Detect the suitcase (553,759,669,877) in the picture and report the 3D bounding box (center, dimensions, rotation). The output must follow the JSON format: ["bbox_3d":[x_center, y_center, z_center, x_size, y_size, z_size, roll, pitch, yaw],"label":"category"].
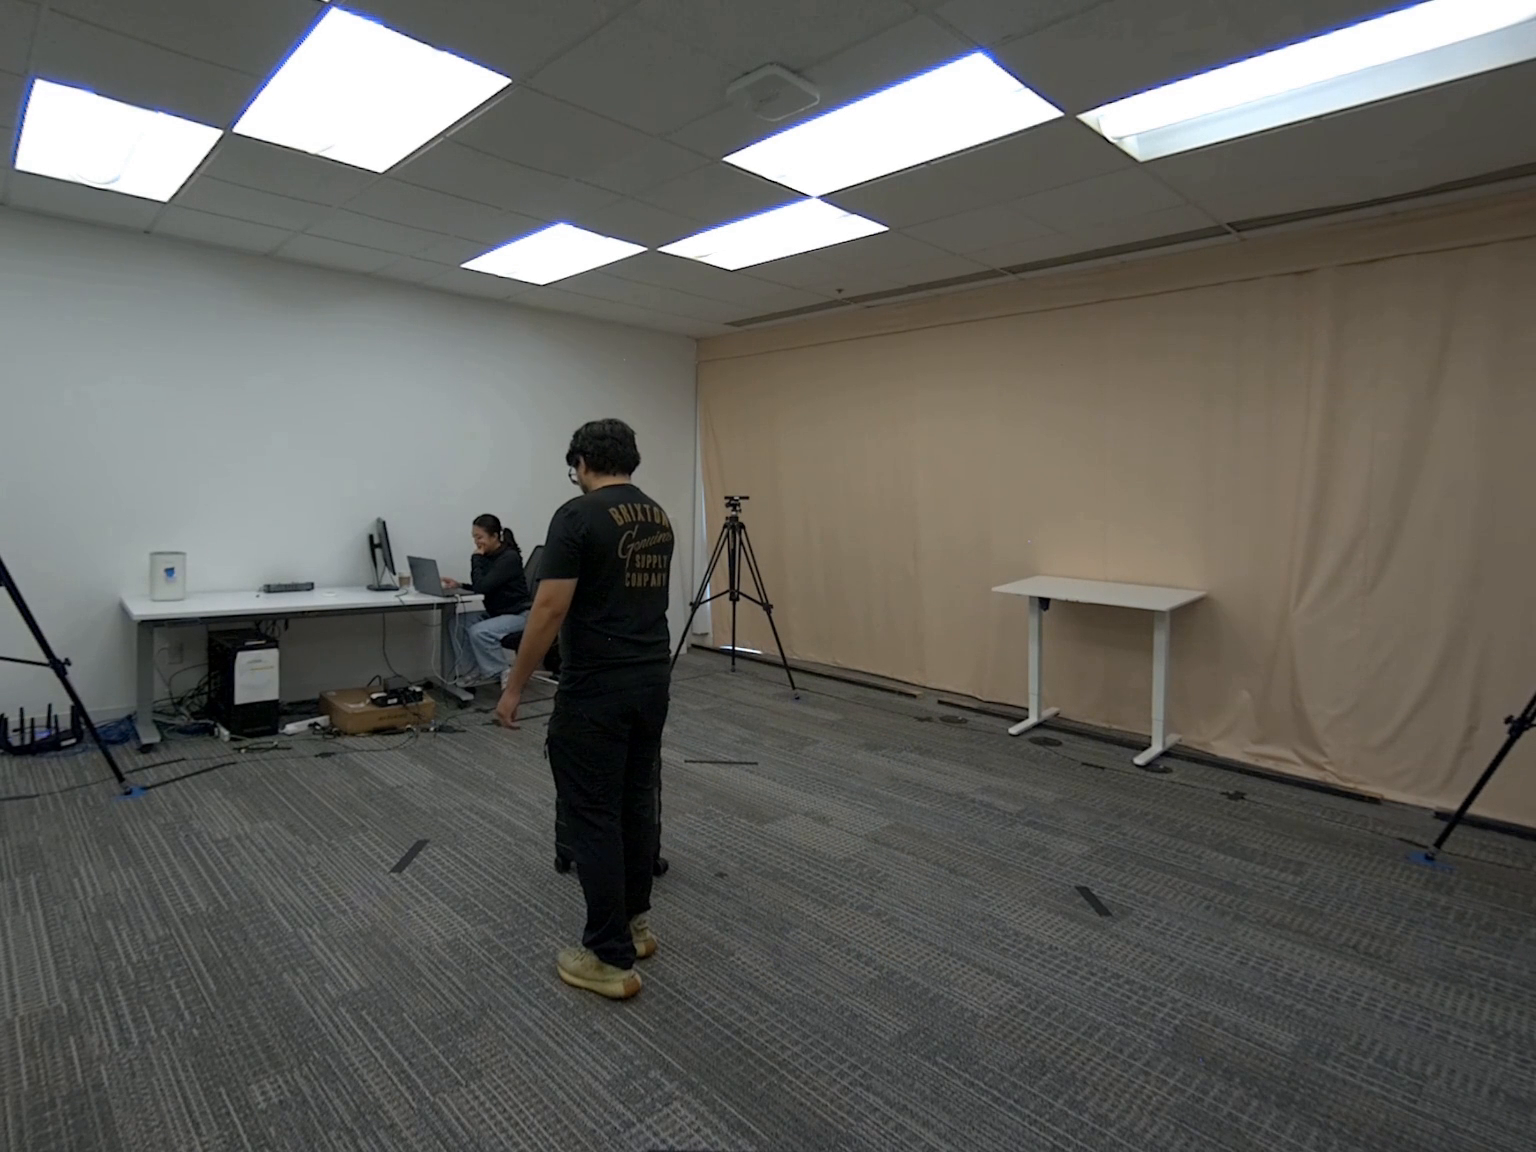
[{"bbox_3d":[-0.593,0.621,3.088,0.393,0.976,0.251,1,3,37],"label":"suitcase"}]
